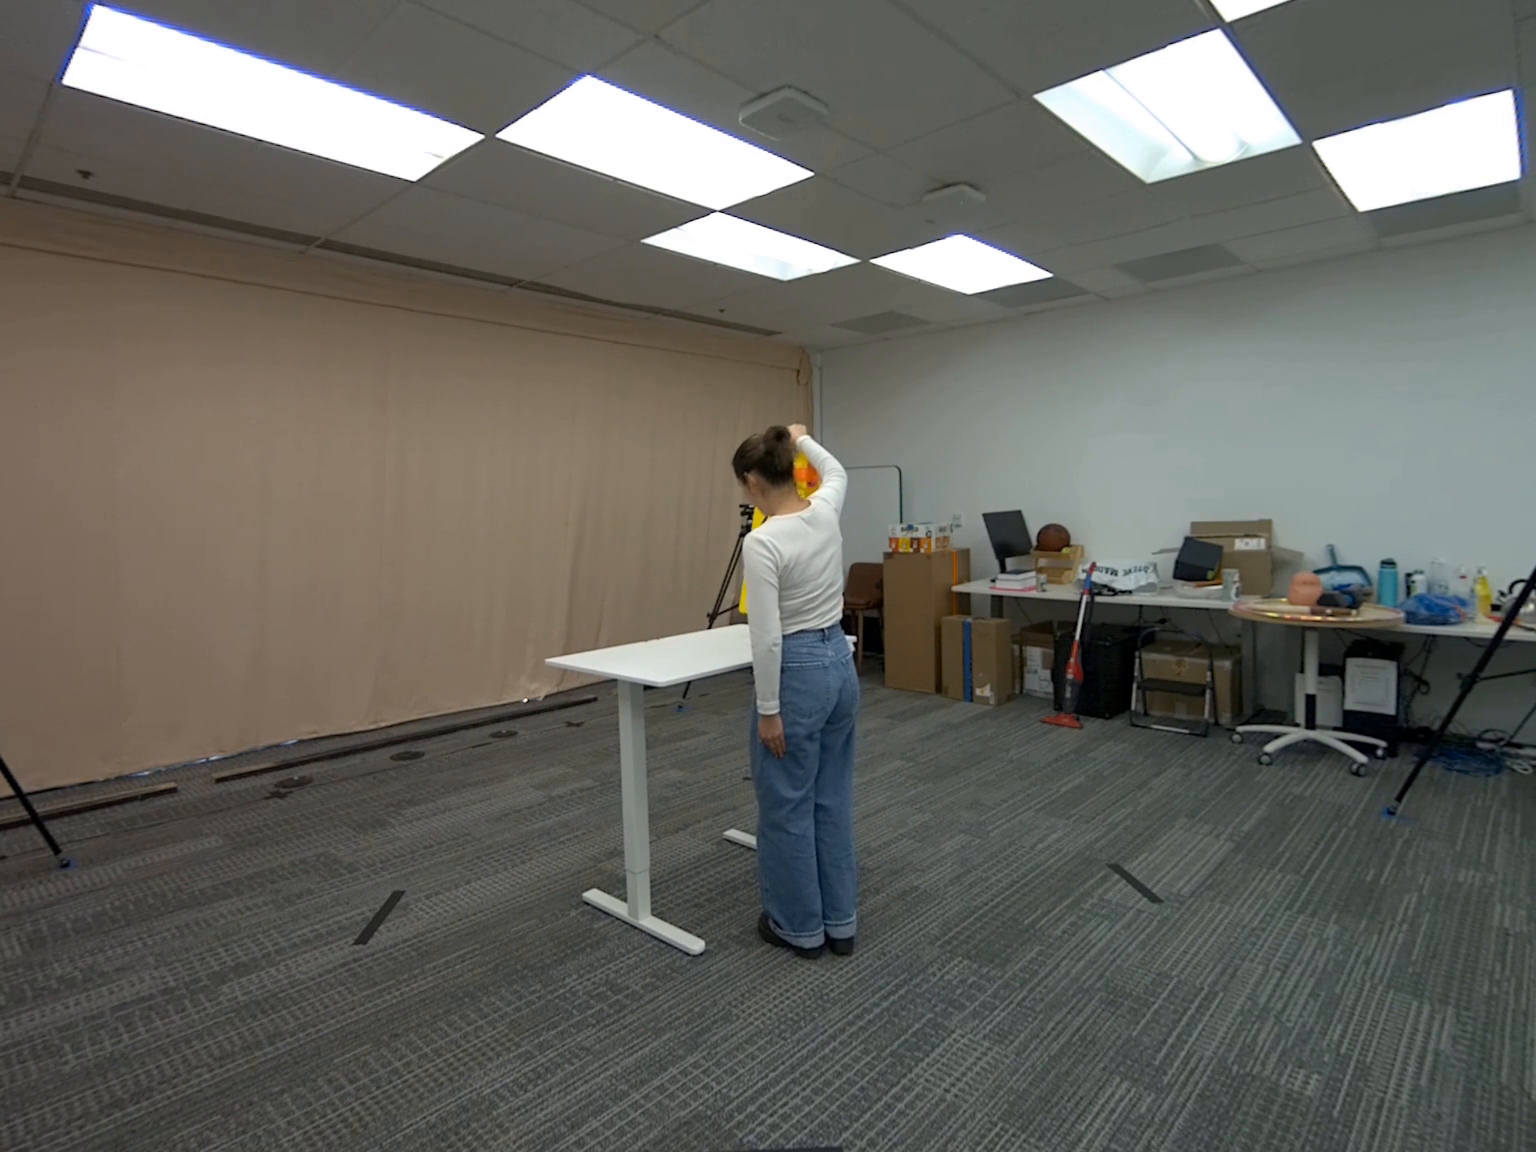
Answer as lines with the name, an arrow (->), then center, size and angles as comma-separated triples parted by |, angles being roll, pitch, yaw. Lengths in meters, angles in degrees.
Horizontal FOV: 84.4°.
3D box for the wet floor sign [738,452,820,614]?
wet floor sign -> 0.087, -0.192, 3.109 | 0.292, 0.645, 0.281 | 3, 4, 44
